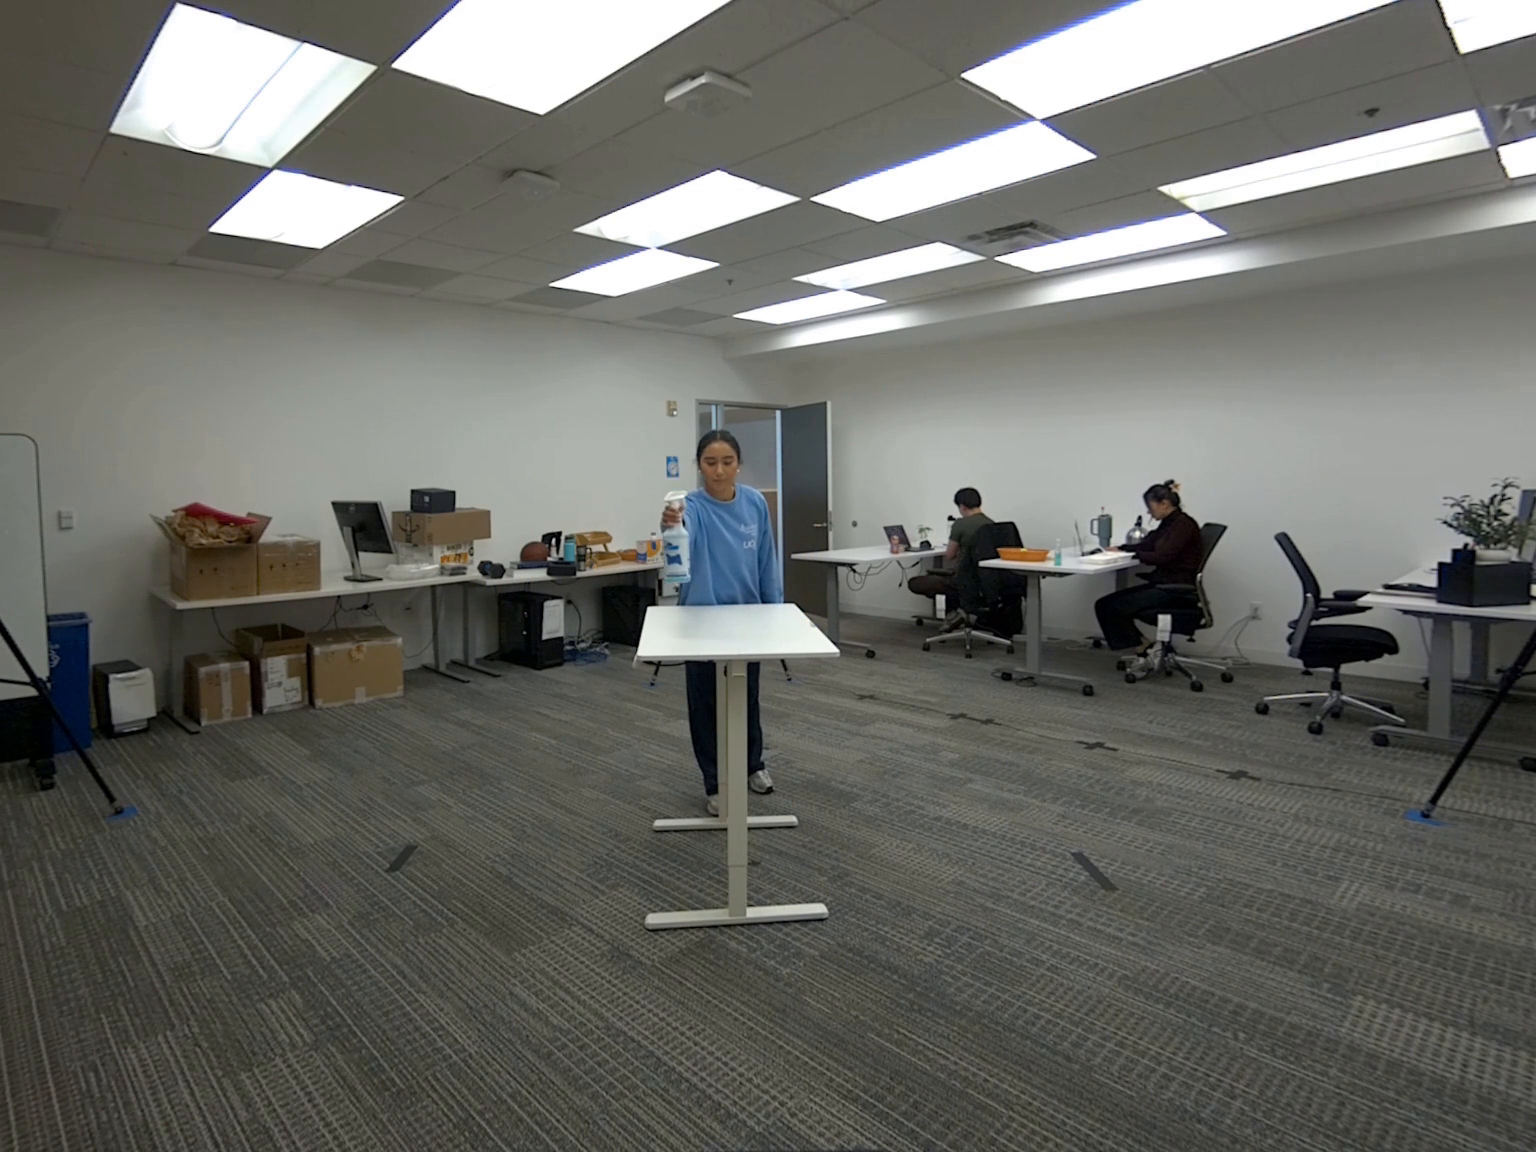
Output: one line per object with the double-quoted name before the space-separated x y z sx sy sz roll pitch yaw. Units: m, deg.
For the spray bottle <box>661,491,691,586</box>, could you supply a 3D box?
"spray bottle" -0.304 -0.129 2.791 0.089 0.296 0.088 -2 3 -15
